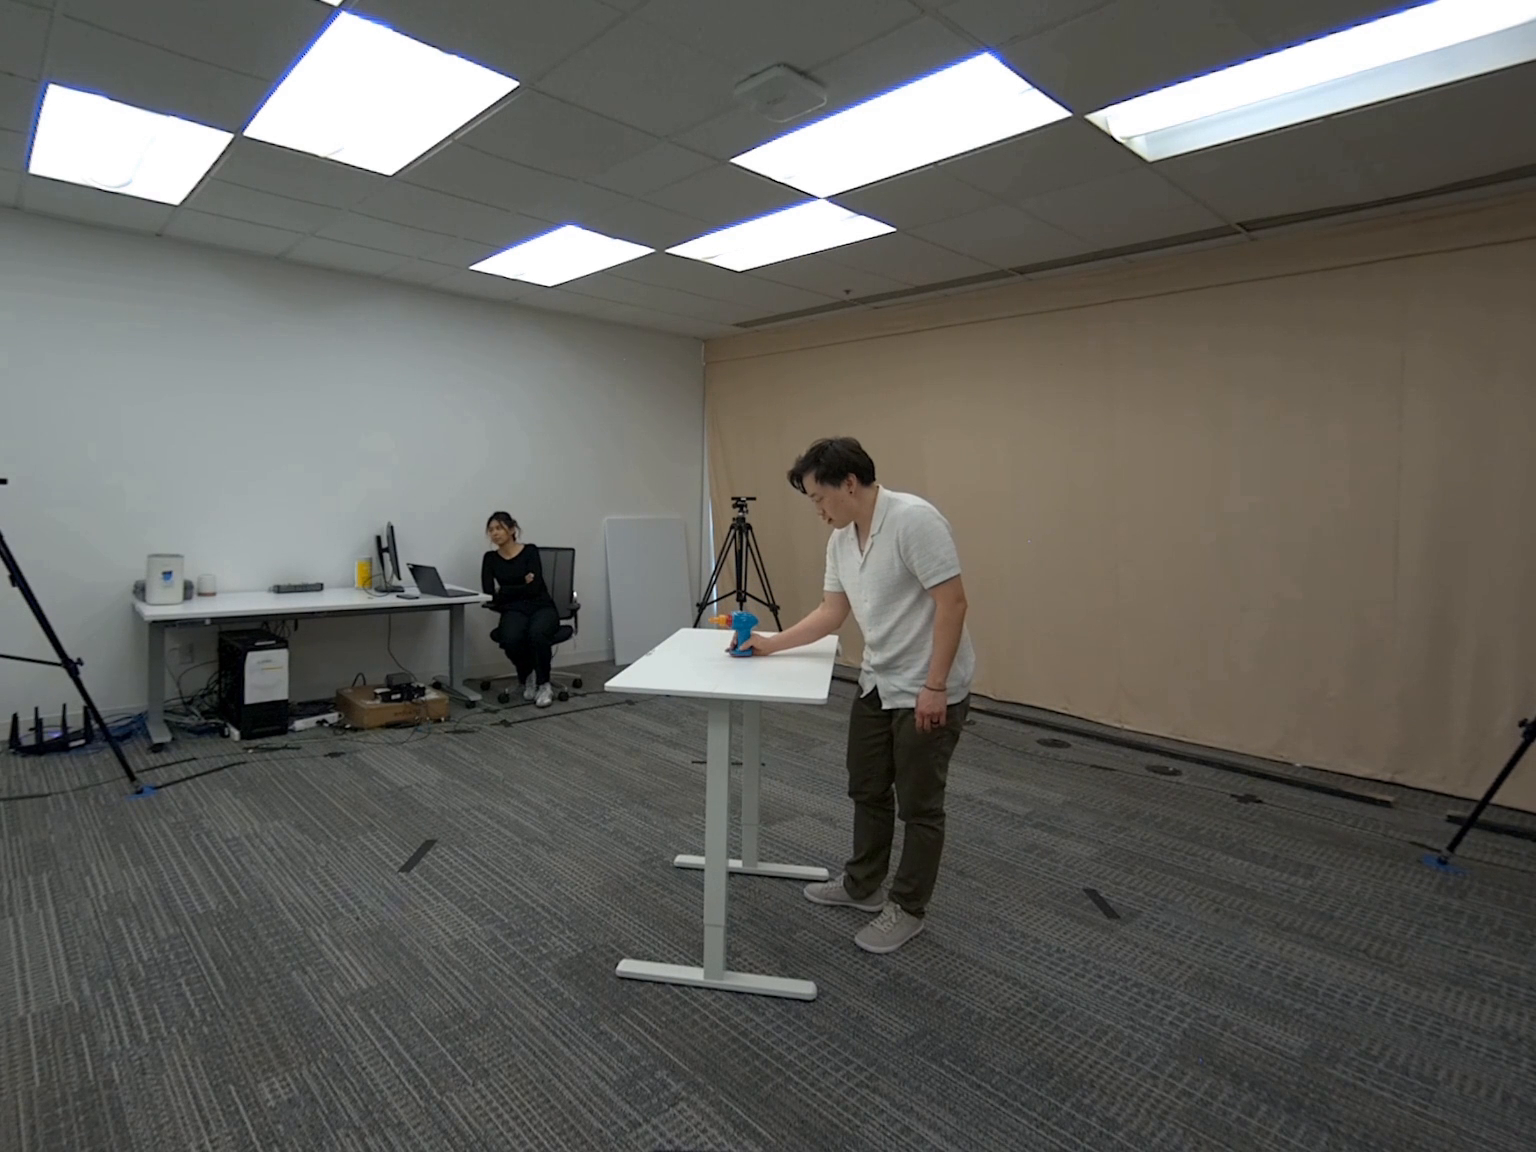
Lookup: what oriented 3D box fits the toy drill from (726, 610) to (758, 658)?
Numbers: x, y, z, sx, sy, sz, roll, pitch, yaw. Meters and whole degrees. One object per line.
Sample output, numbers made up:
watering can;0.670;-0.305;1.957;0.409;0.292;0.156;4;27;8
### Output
toy drill;-0.119;0.181;2.710;0.167;0.145;0.062;2;8;-21
